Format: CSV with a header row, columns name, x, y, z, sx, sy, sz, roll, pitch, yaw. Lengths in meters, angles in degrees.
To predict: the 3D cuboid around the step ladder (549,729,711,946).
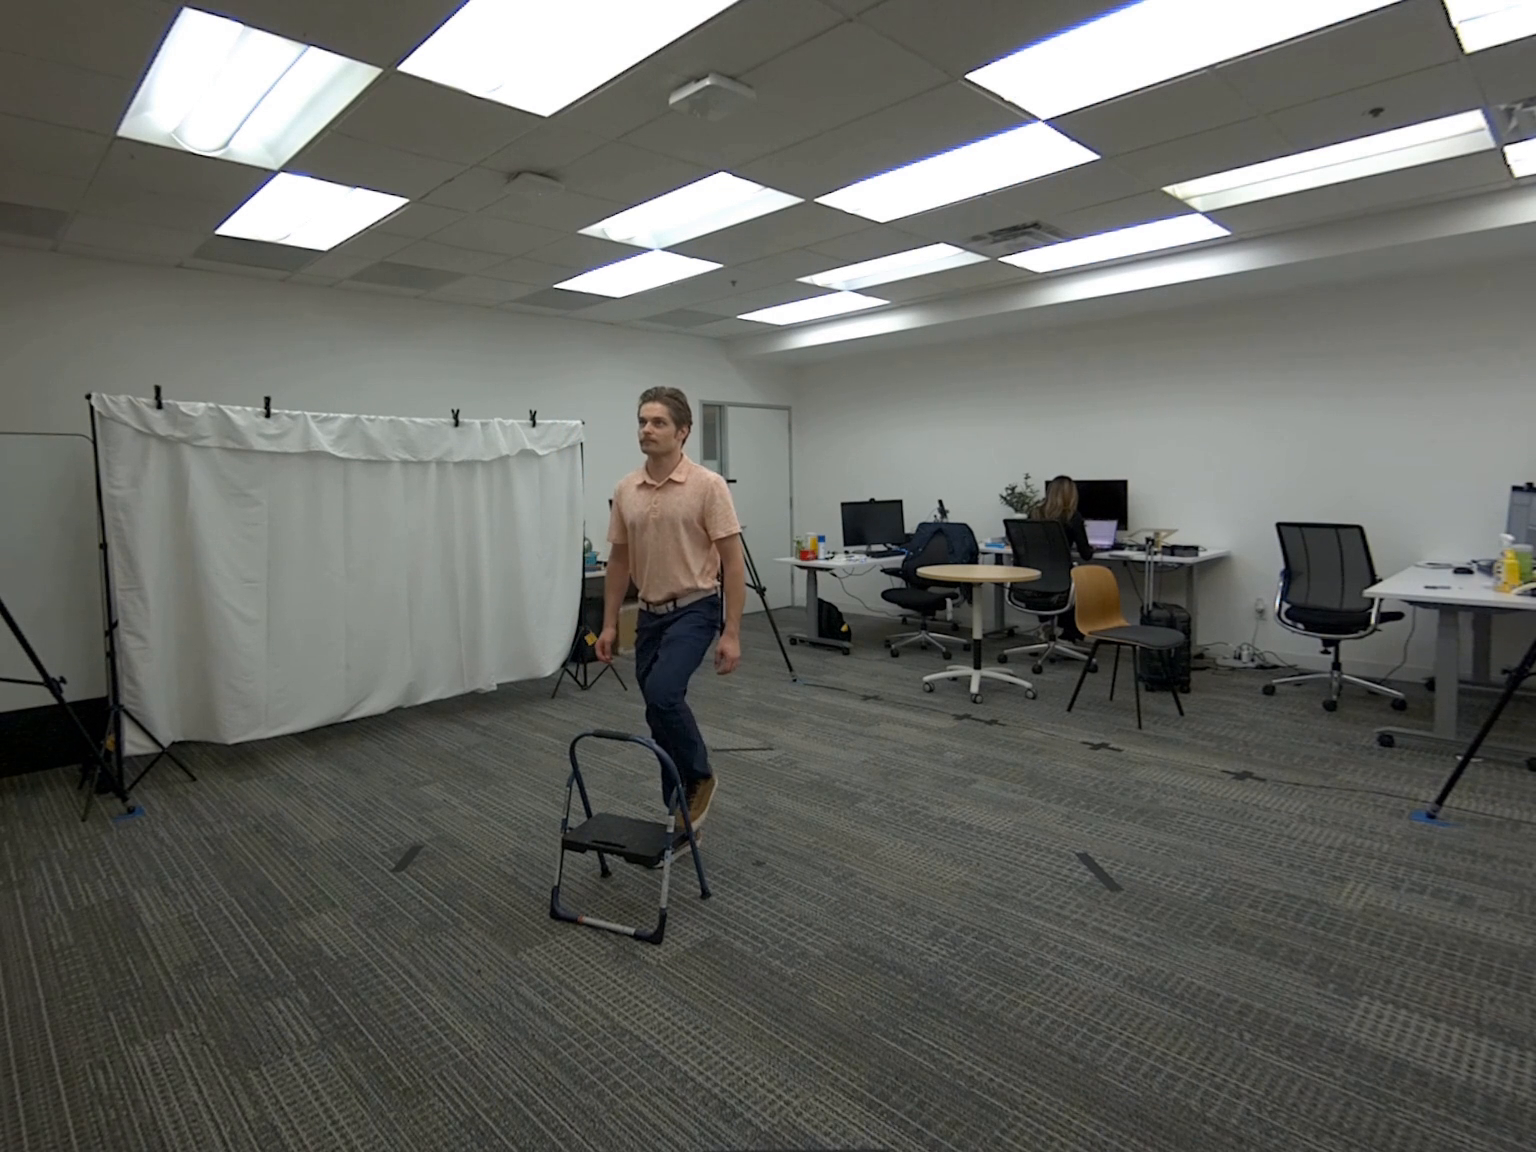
name,x,y,z,sx,sy,sz,roll,pitch,yaw
step ladder,-0.457,0.788,2.793,0.440,0.603,0.343,1,5,24
